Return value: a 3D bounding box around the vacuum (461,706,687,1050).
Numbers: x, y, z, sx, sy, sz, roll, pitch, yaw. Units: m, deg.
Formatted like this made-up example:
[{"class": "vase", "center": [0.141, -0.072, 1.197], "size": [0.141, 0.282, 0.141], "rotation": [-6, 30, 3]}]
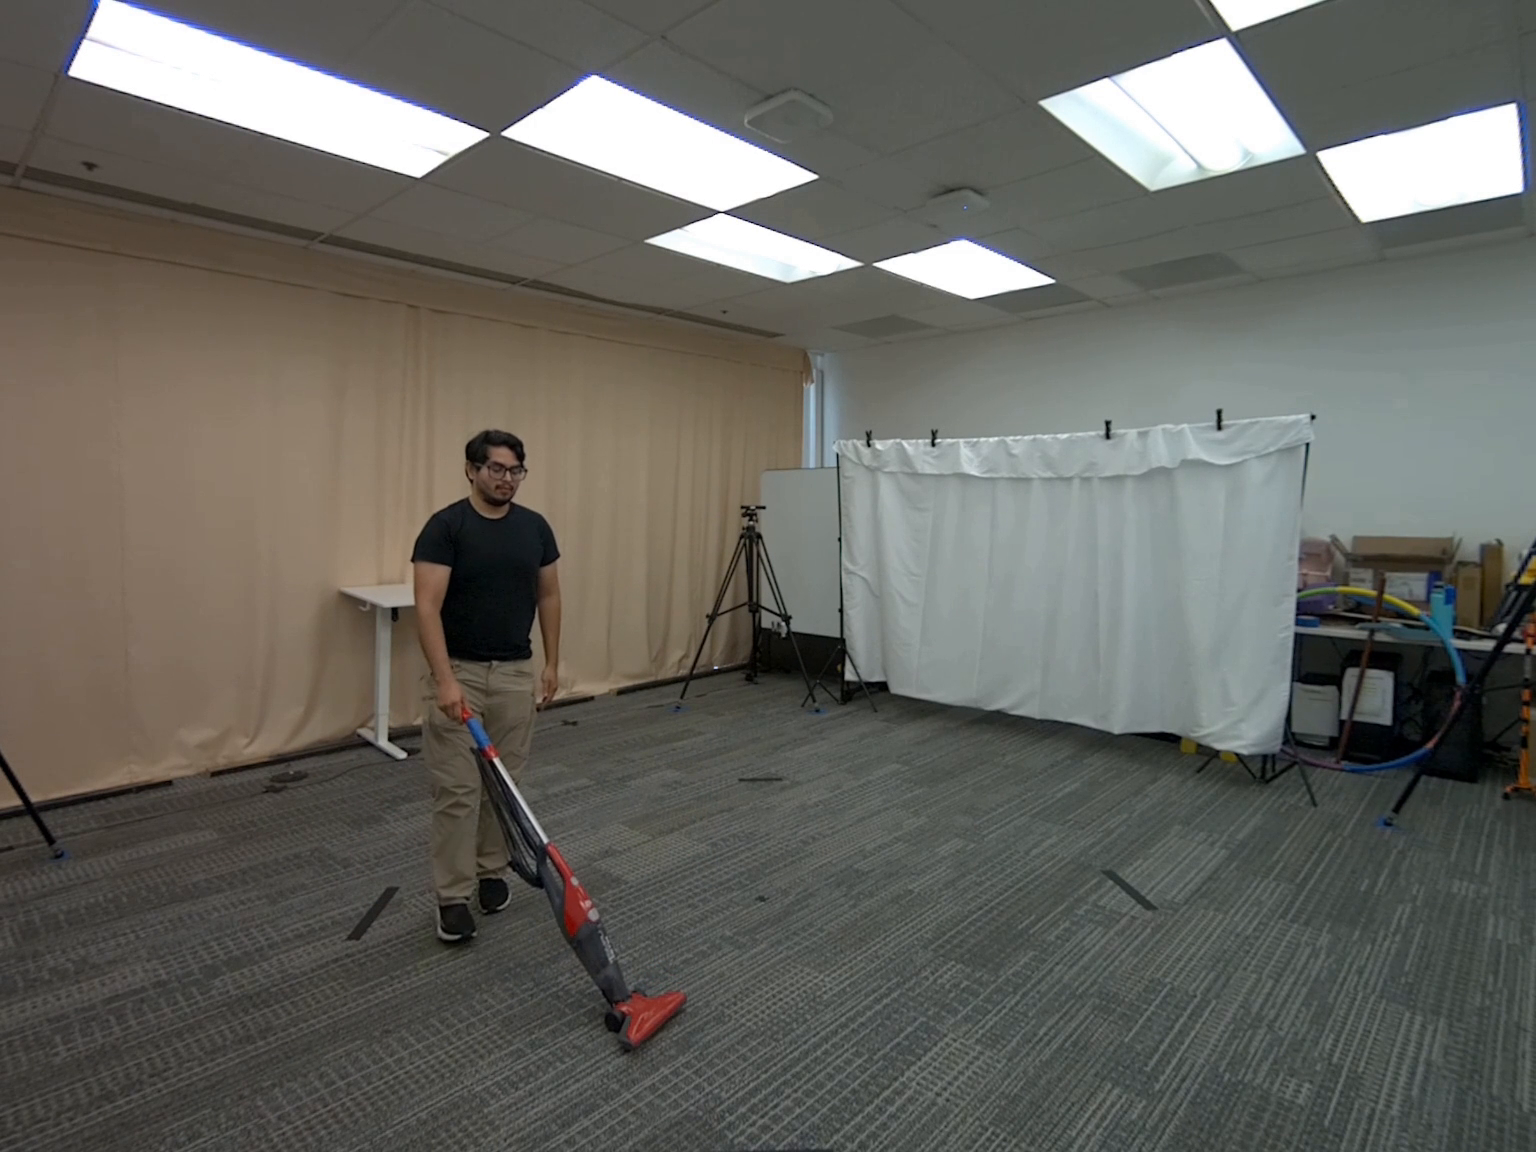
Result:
[{"class": "vacuum", "center": [-0.653, 0.799, 2.424], "size": [0.145, 1.071, 0.246], "rotation": [-47, -20, 24]}]
